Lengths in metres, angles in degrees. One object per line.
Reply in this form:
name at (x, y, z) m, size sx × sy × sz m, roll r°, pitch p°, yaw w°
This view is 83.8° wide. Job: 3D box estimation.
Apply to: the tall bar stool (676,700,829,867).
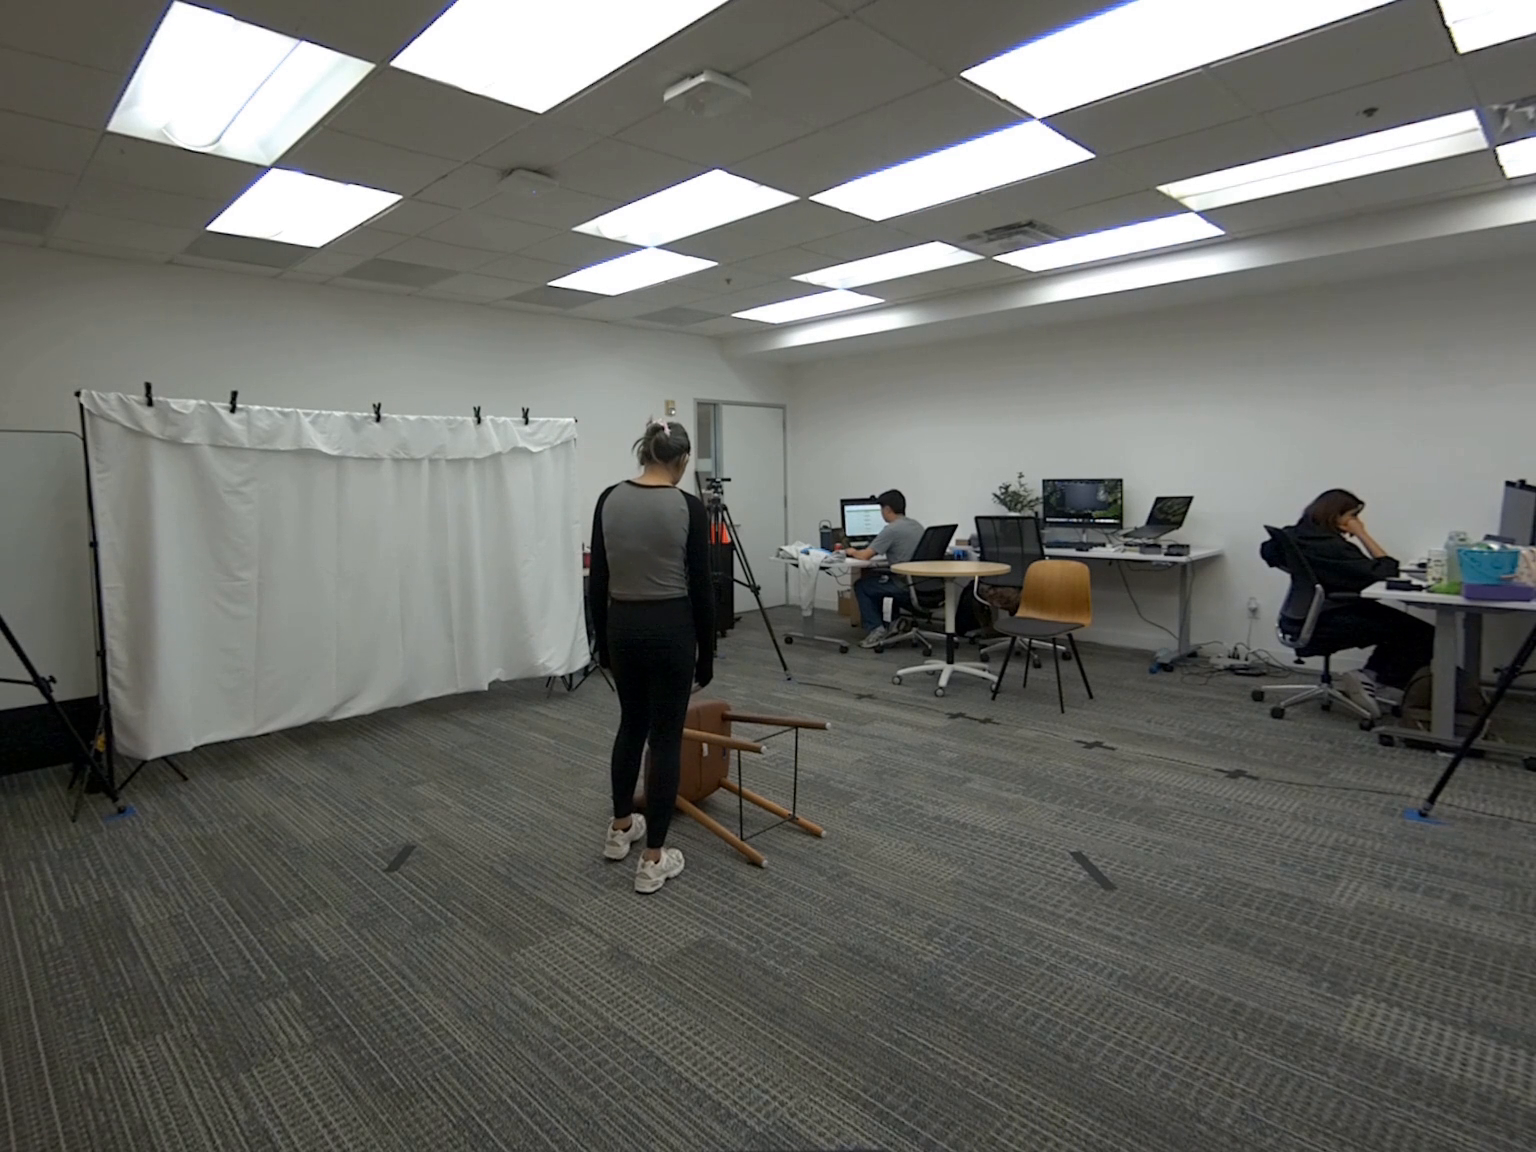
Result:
tall bar stool at (-0.219, 0.774, 3.474) m, size 0.917 × 0.465 × 0.445 m, roll 4°, pitch 7°, yaw 42°
